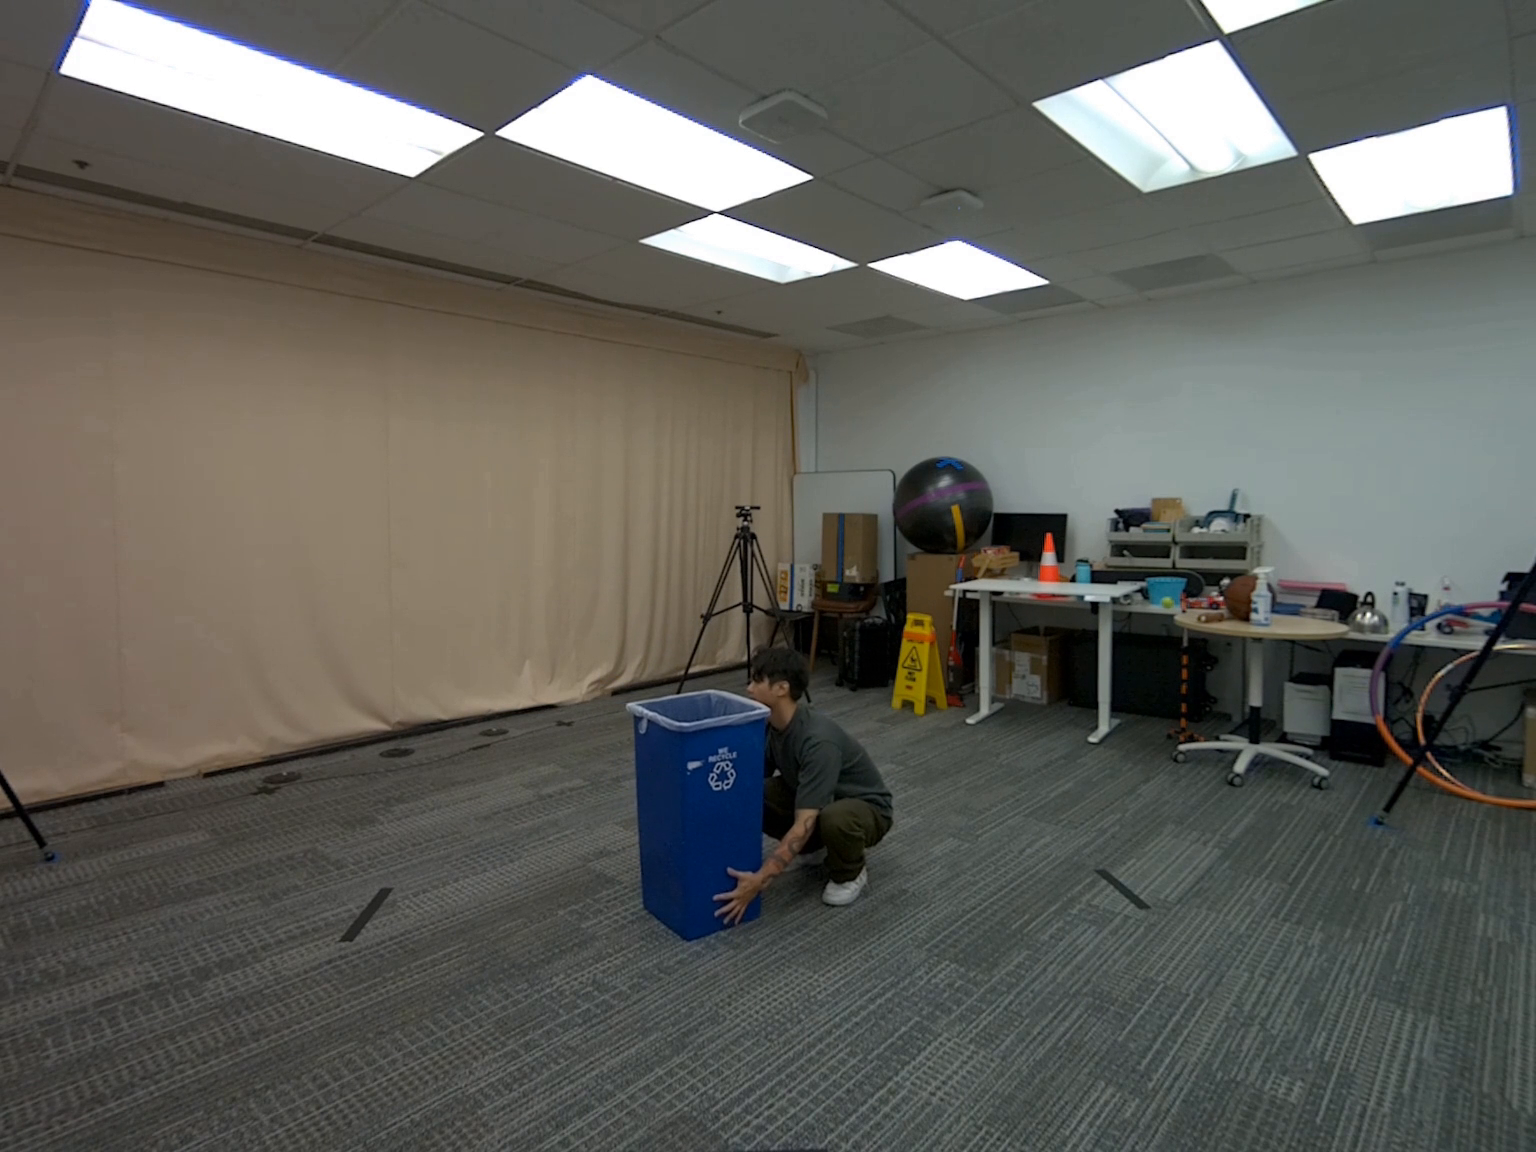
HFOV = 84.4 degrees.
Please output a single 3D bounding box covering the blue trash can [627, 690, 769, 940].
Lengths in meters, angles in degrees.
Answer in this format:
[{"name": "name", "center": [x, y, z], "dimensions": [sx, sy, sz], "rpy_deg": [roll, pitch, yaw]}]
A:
[{"name": "blue trash can", "center": [-0.226, 0.793, 2.862], "dimensions": [0.367, 0.712, 0.386], "rpy_deg": [-3, 4, -36]}]
